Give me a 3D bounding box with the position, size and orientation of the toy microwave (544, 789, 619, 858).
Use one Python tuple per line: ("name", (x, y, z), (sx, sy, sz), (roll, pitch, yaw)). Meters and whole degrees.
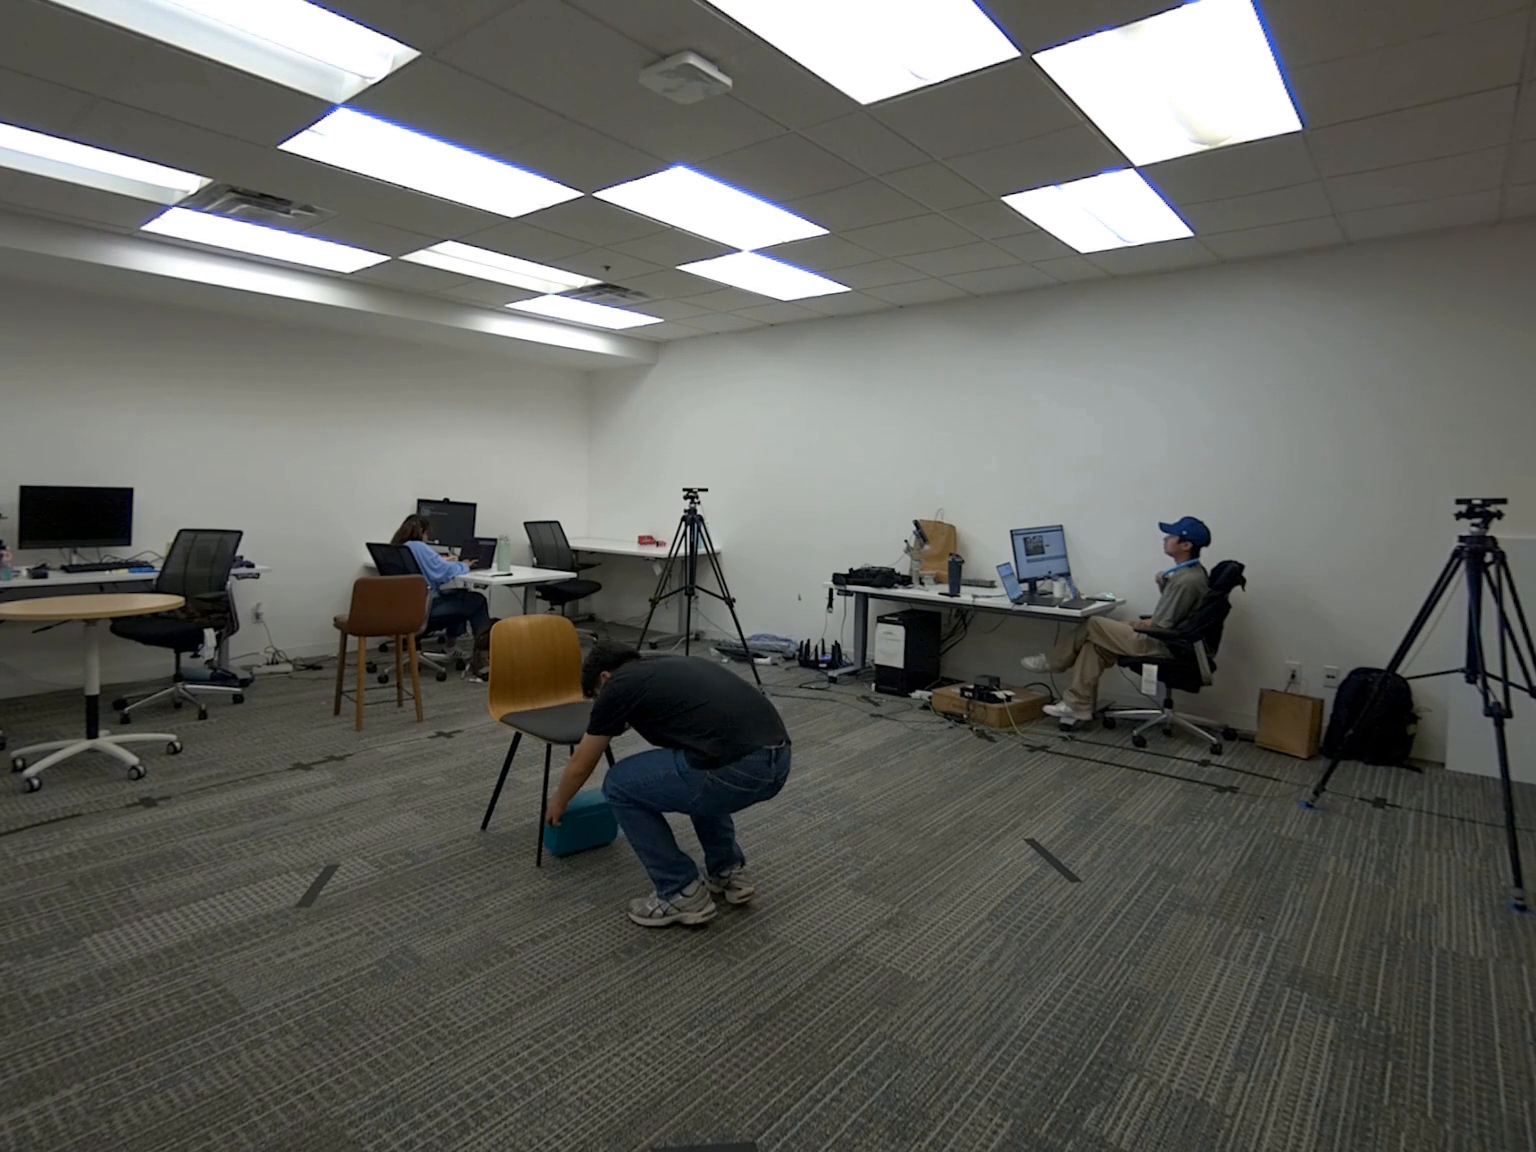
("toy microwave", (-0.737, 0.943, 3.274), (0.277, 0.183, 0.158), (-1, 9, -41))
